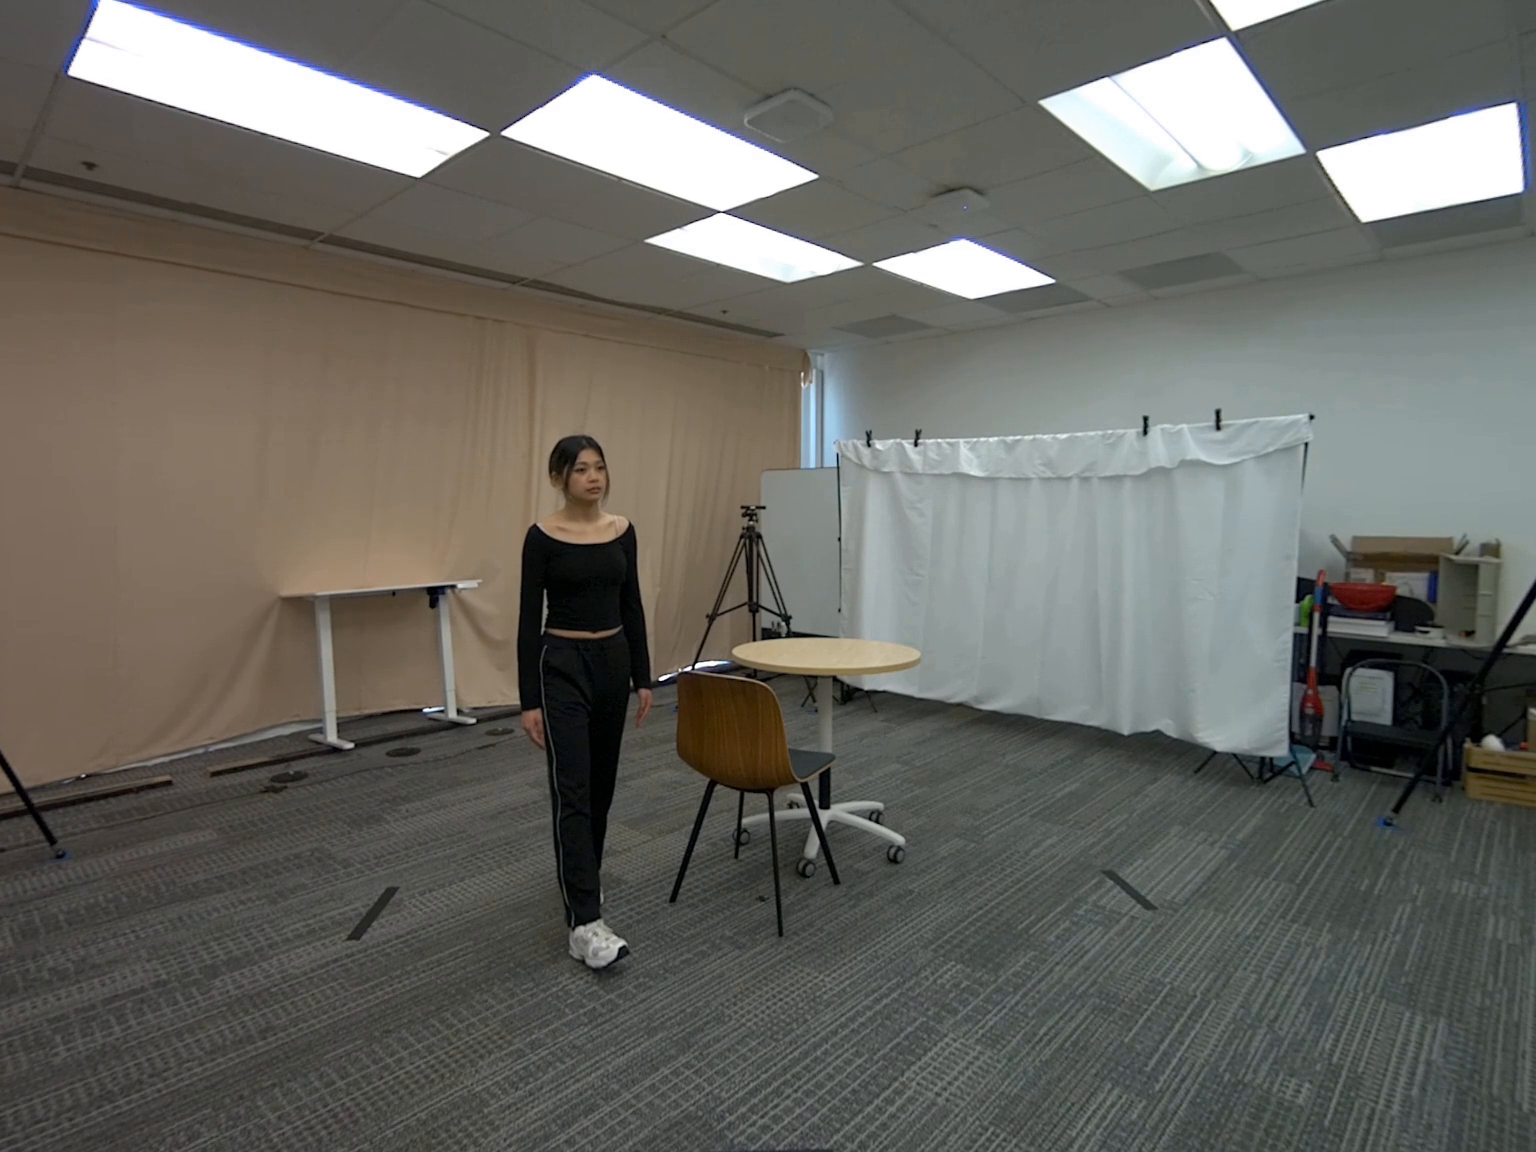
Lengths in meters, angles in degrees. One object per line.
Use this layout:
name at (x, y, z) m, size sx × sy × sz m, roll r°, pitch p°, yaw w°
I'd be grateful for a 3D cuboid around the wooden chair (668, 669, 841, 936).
wooden chair at (-0.035, 0.714, 3.001) m, size 0.492 × 0.873 × 0.510 m, roll 2°, pitch 9°, yaw 31°
